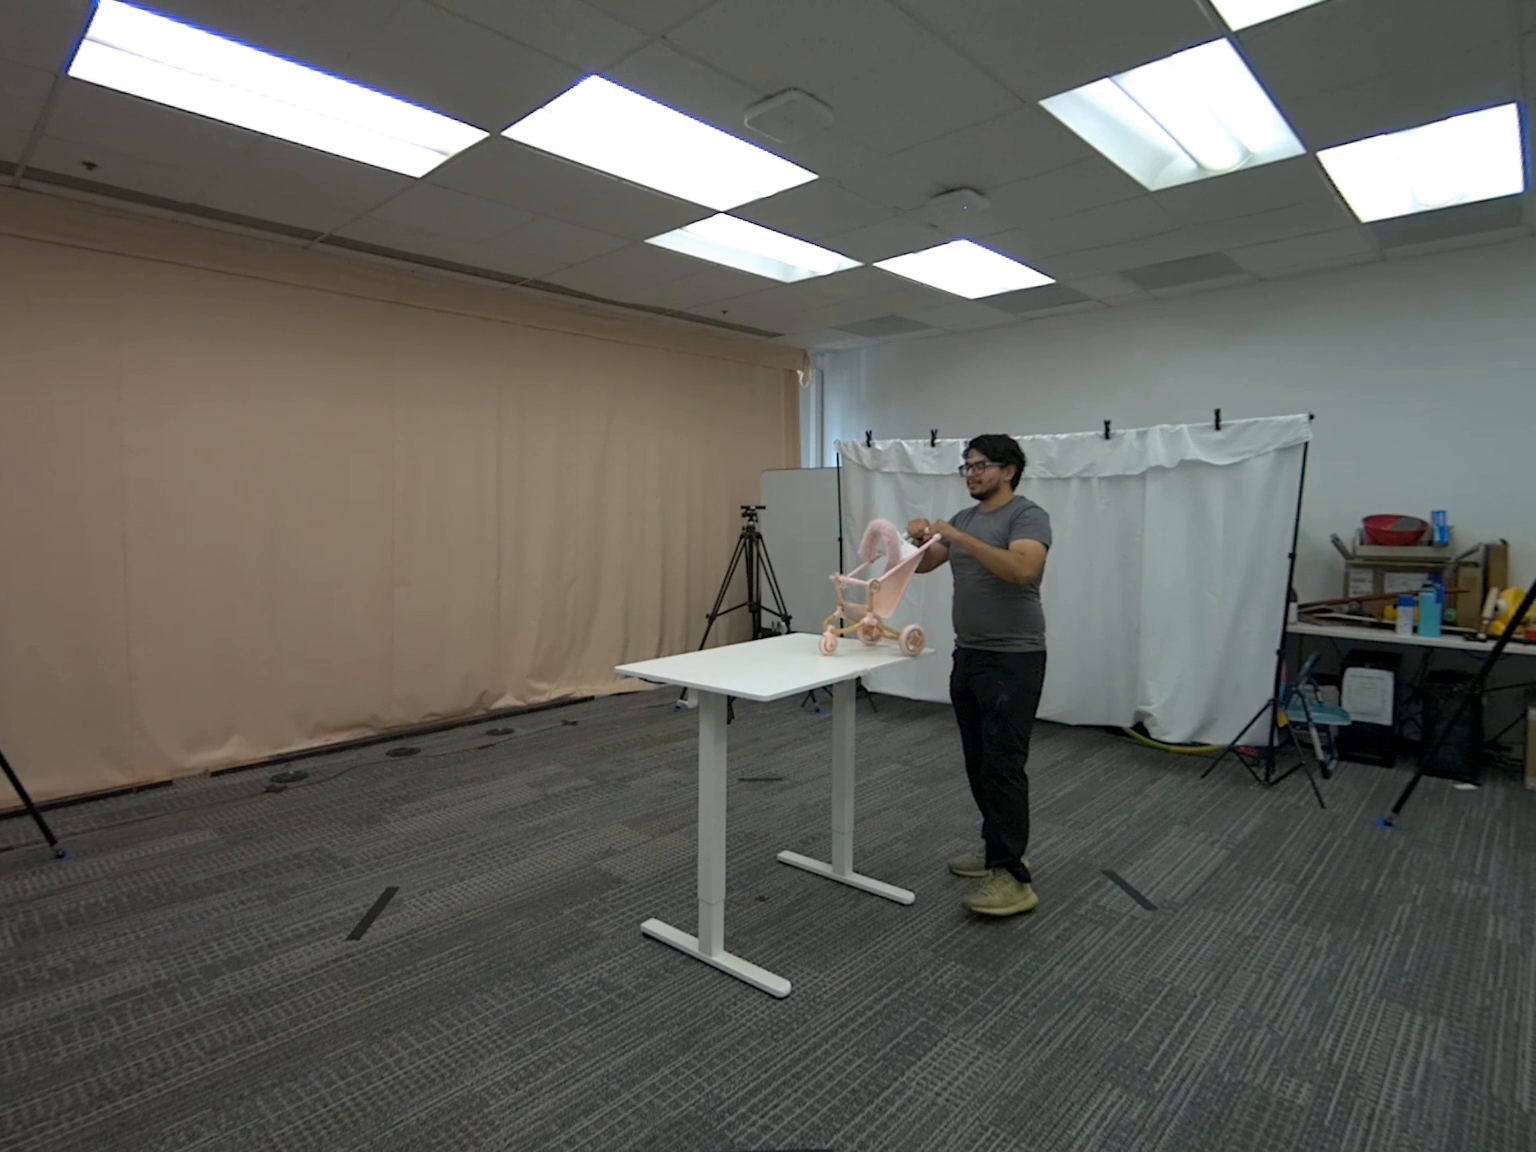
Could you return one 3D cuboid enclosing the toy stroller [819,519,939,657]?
[{"bbox_3d":[0.375,0.043,2.934,0.334,0.535,0.287,15,-3,-20],"label":"toy stroller"}]
